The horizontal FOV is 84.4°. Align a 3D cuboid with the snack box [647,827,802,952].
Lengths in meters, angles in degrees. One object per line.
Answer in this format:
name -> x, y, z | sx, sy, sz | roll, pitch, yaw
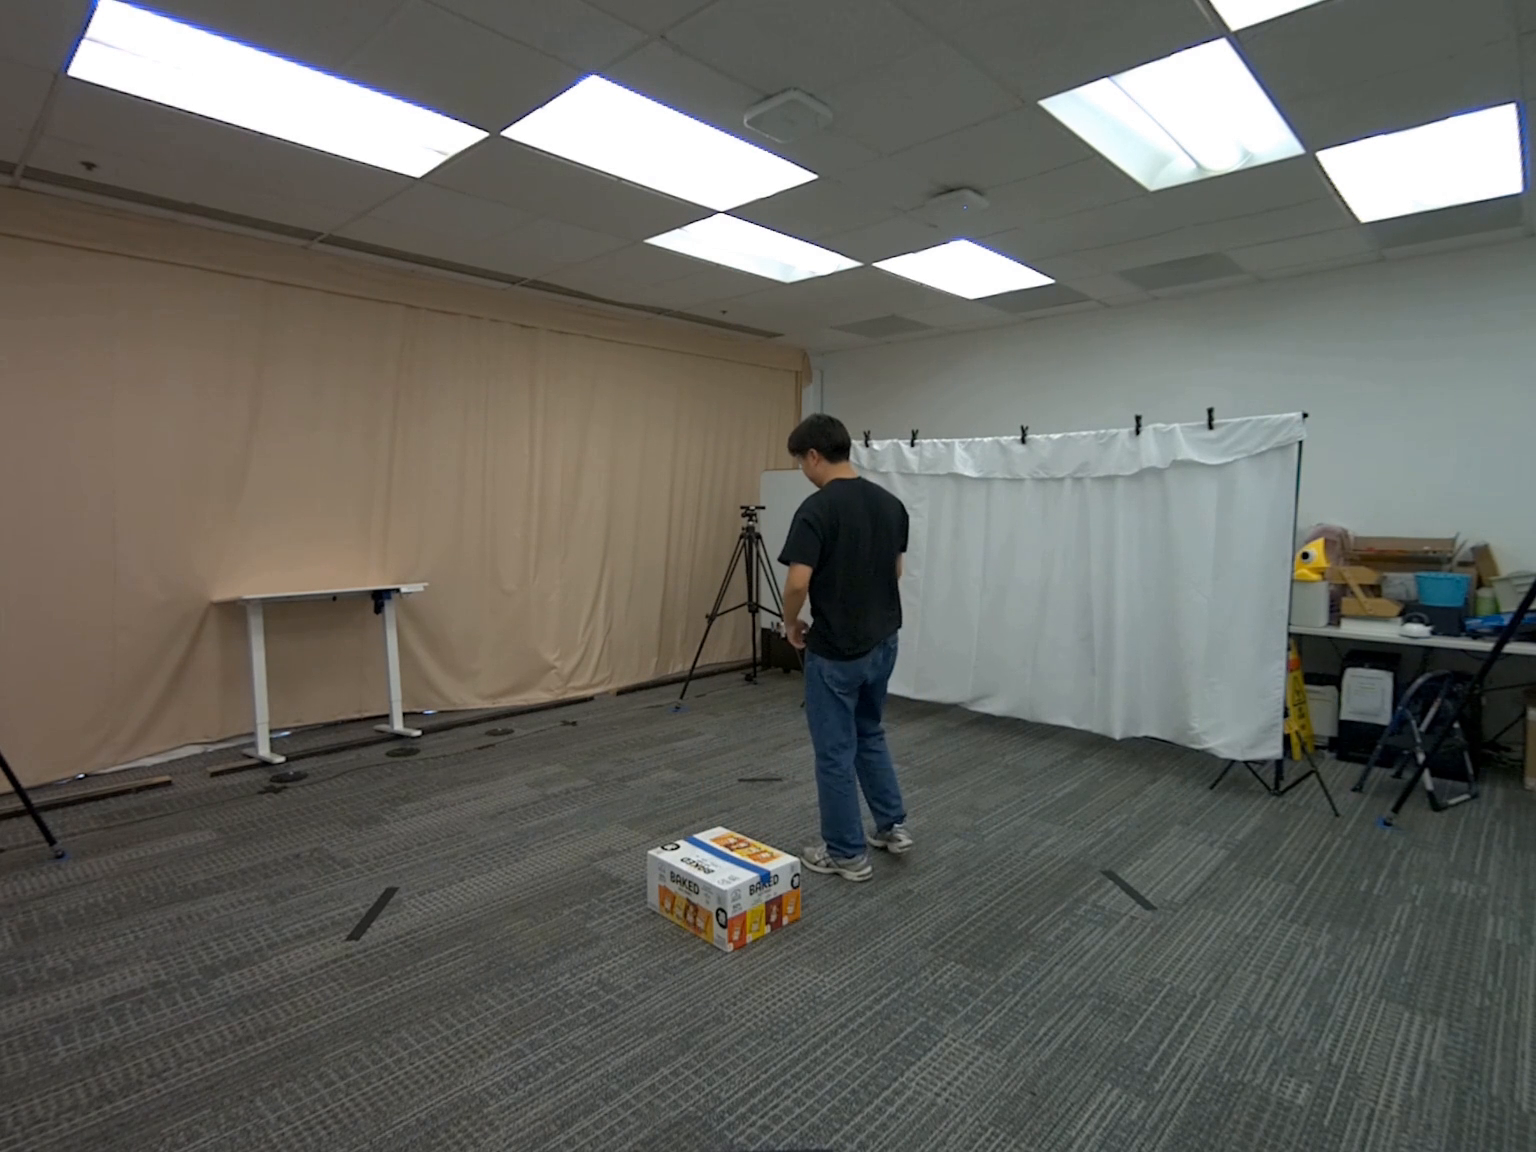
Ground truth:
snack box -> -0.151, 1.054, 2.869 | 0.330, 0.205, 0.419 | -4, 6, -44
